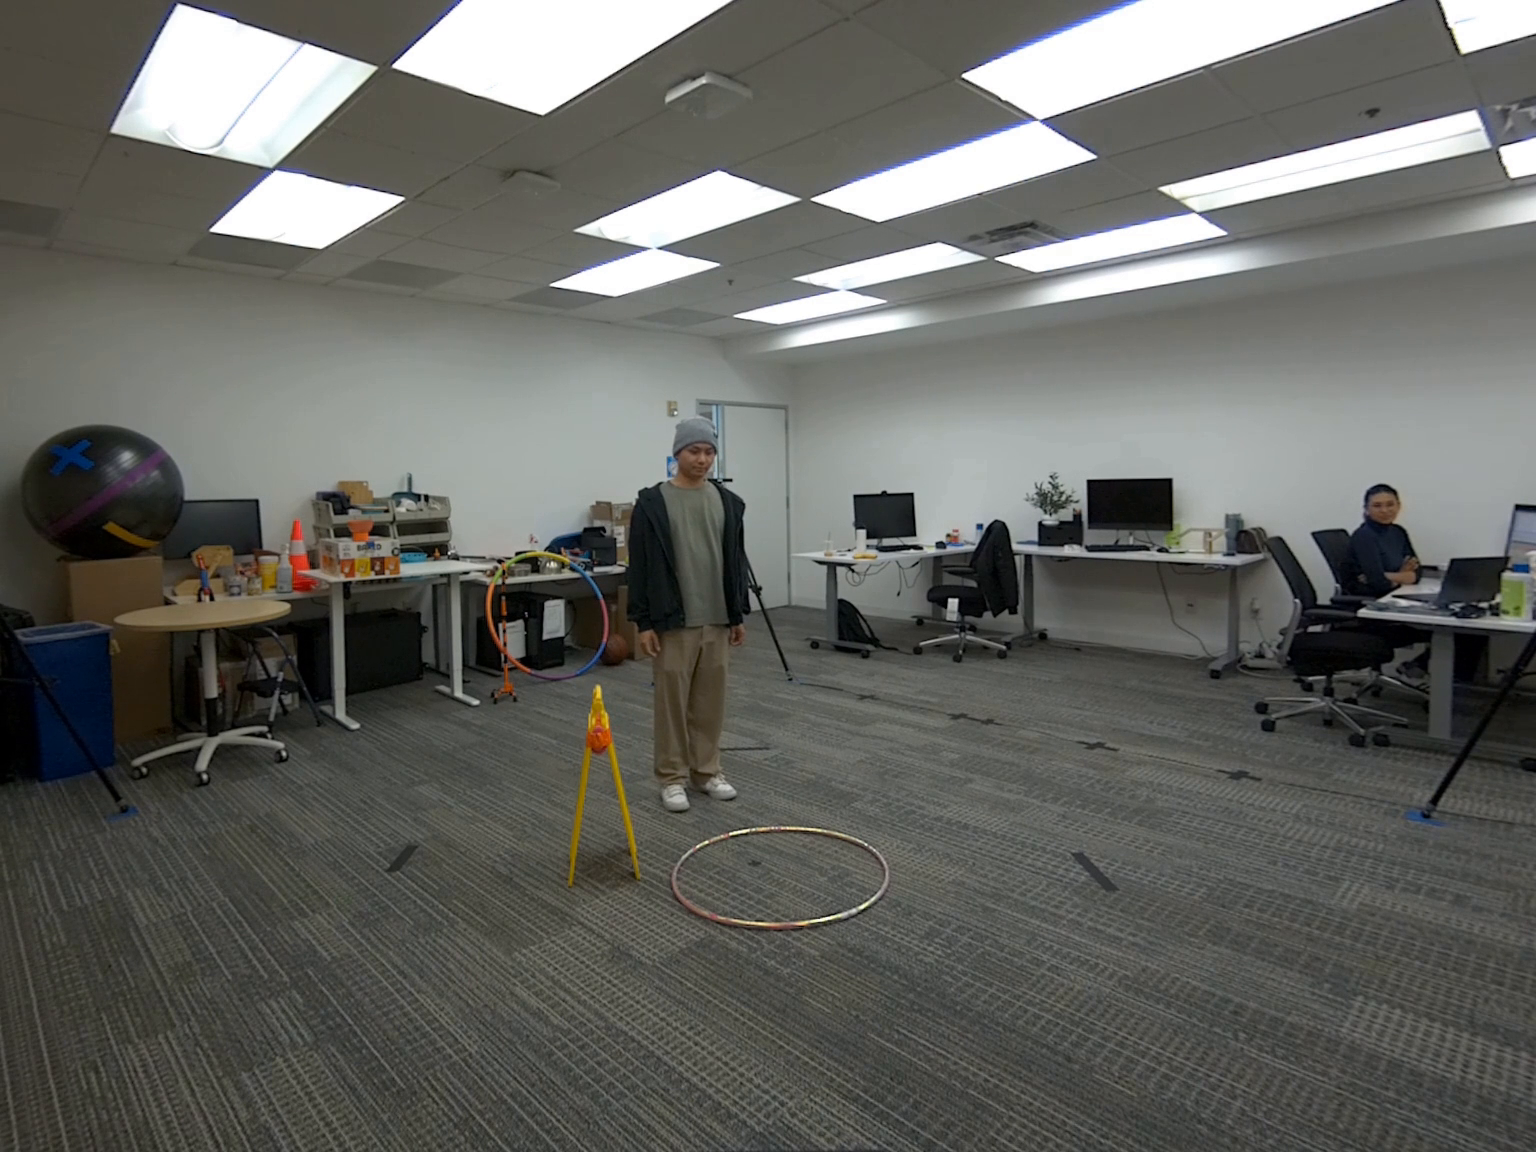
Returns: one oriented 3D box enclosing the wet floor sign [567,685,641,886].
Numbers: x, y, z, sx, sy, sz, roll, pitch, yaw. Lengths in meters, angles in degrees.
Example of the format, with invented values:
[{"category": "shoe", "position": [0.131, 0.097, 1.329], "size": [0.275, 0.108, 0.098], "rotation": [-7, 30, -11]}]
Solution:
[{"category": "wet floor sign", "position": [-0.605, 0.734, 3.085], "size": [0.288, 0.644, 0.285], "rotation": [-2, 4, -8]}]
